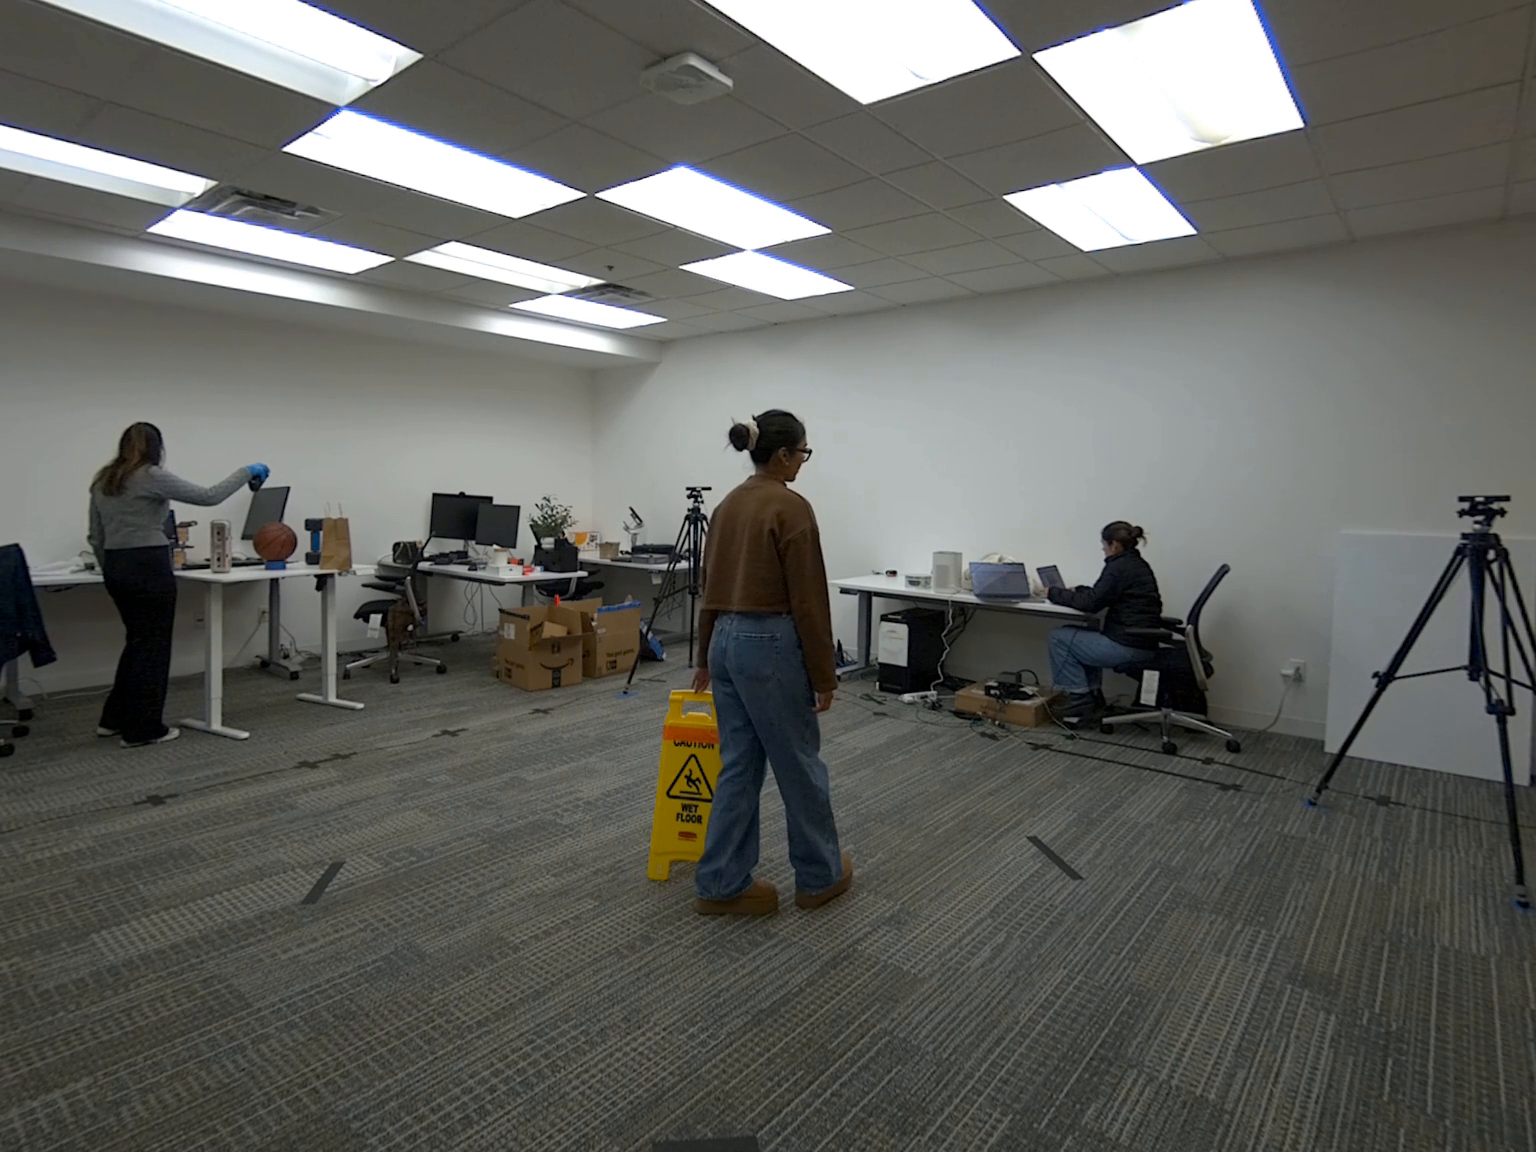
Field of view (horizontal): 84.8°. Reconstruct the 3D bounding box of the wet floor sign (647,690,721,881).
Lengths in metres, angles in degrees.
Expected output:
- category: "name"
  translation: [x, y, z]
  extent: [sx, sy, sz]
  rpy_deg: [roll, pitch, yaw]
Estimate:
- category: "wet floor sign"
  translation: [-0.278, 0.740, 3.101]
  extent: [0.285, 0.644, 0.287]
  rpy_deg: [0, 4, 10]
